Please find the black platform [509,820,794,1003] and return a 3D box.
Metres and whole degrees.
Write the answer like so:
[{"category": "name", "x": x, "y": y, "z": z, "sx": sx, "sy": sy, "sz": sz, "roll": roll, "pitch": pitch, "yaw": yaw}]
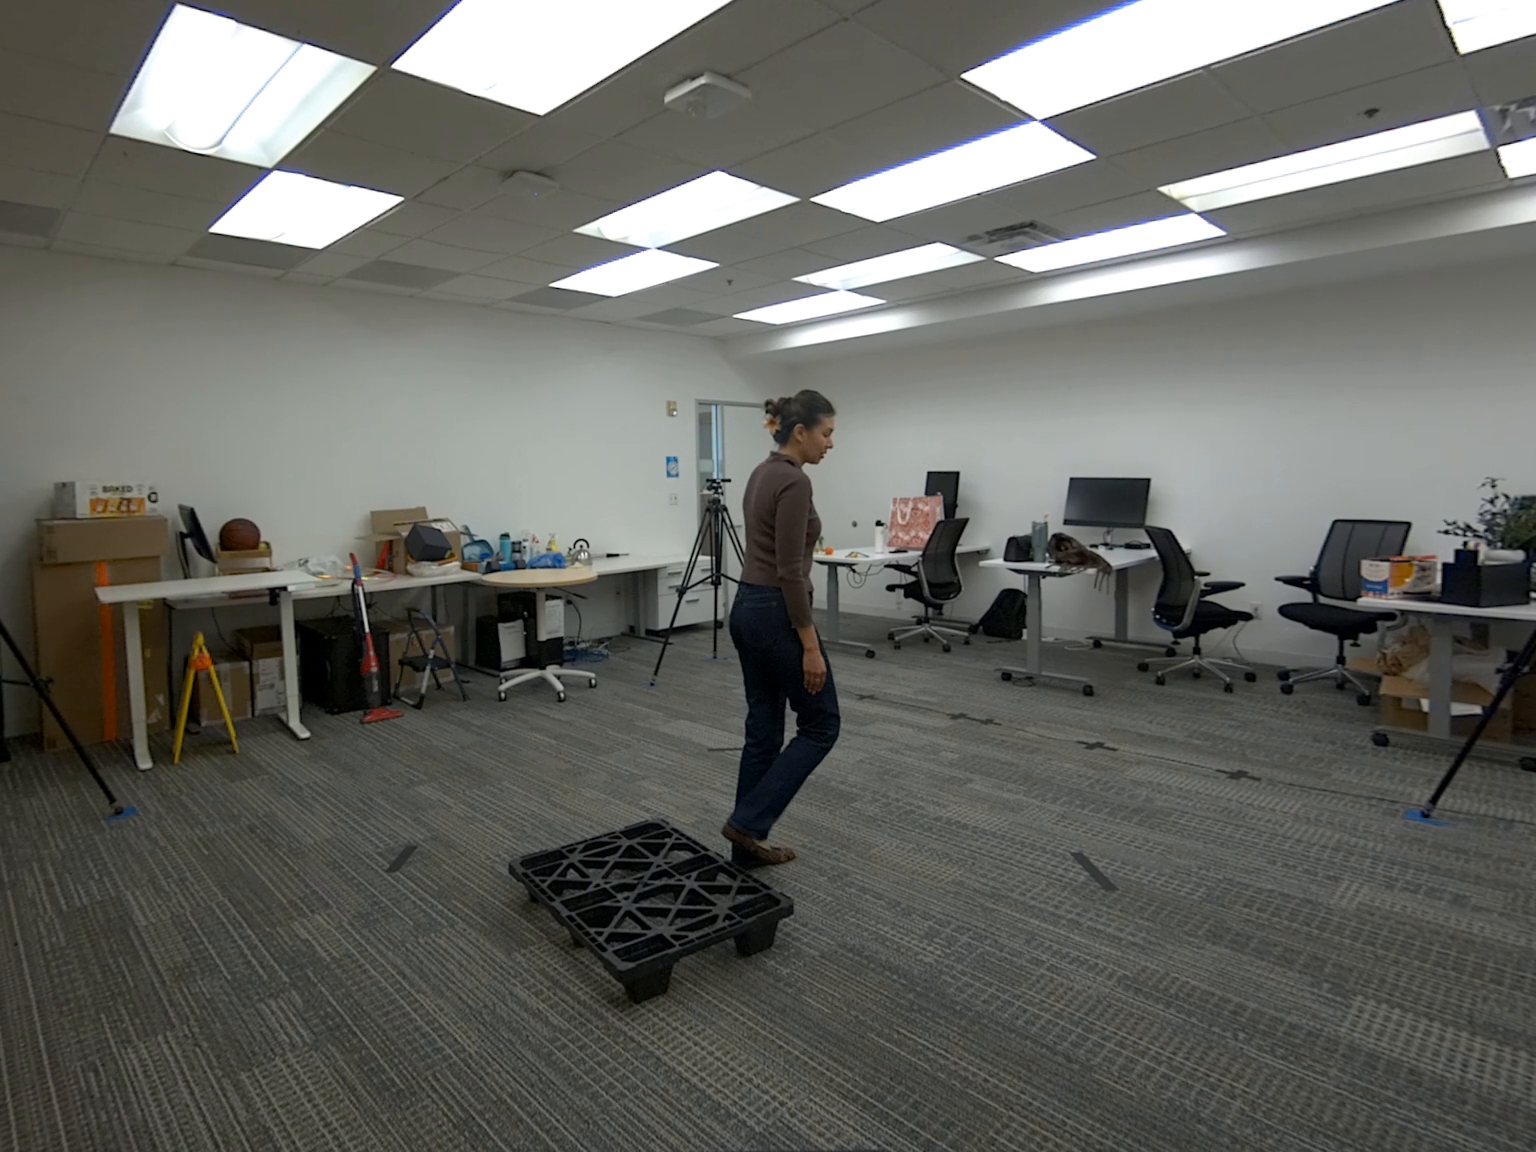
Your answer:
[{"category": "black platform", "x": -0.394, "y": 1.031, "z": 2.714, "sx": 0.590, "sy": 0.142, "sz": 0.830, "roll": -6, "pitch": 8, "yaw": -37}]
